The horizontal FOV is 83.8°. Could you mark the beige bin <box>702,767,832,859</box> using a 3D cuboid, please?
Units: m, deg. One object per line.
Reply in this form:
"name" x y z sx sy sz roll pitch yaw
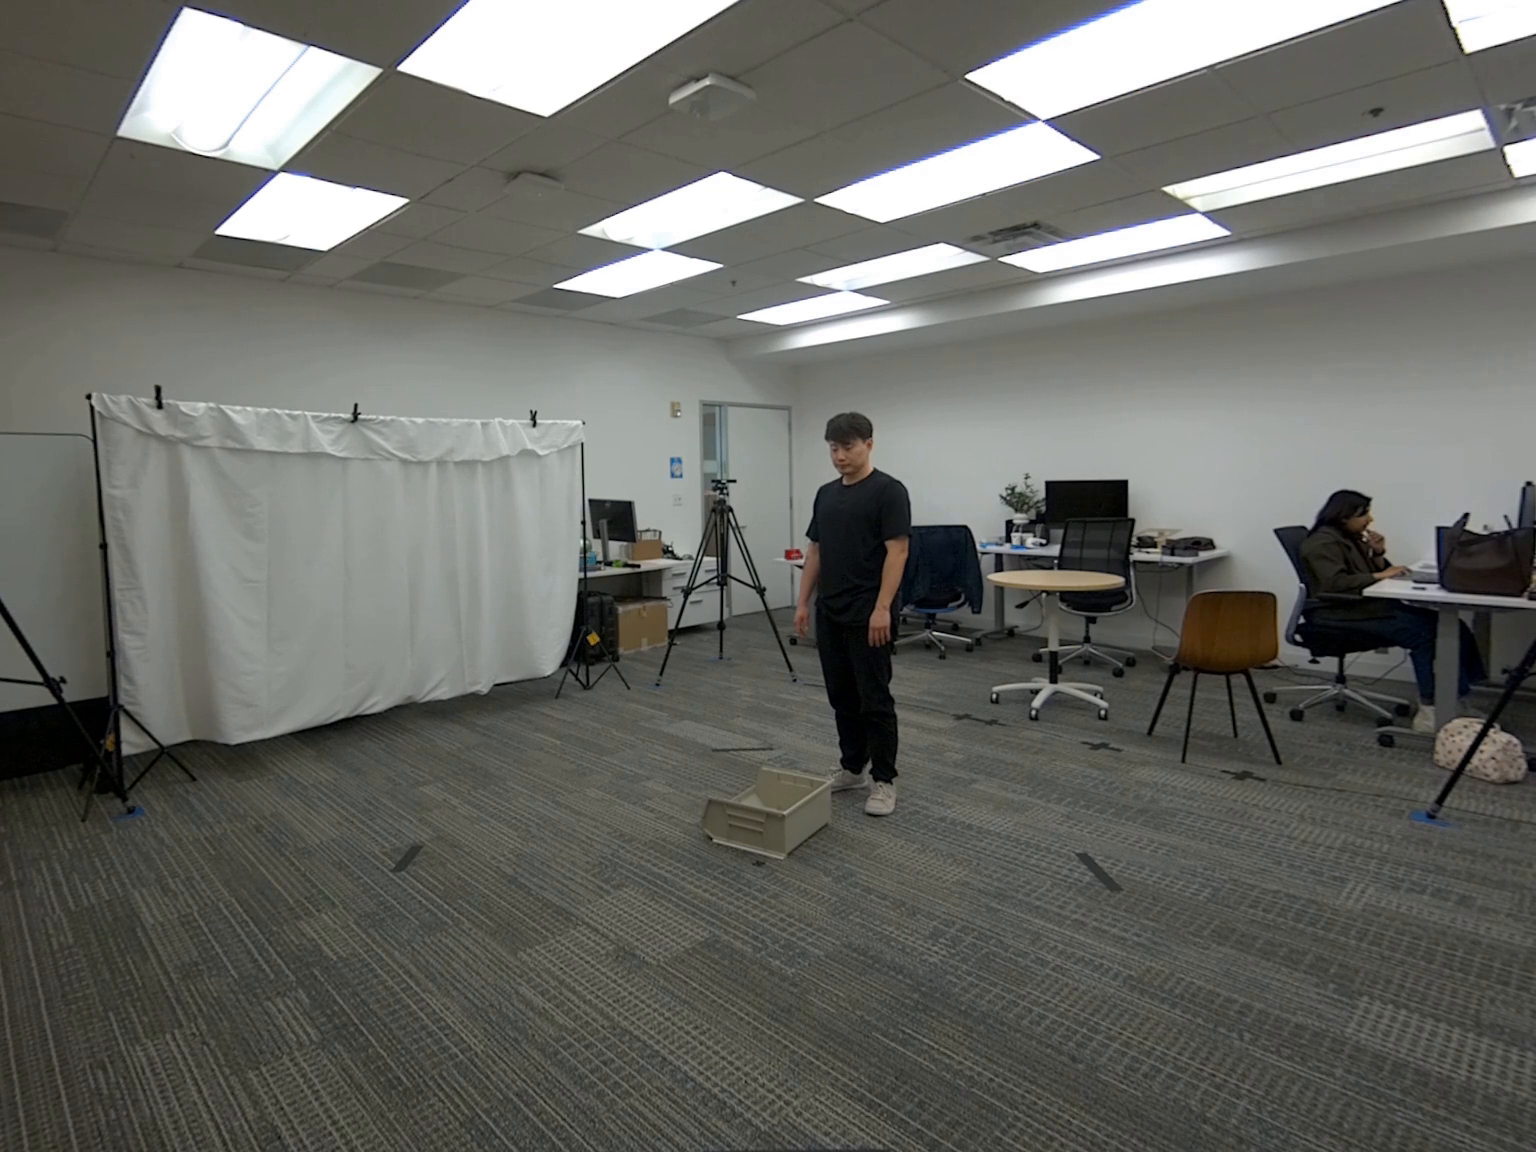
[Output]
"beige bin" 0.005 0.926 3.393 0.388 0.188 0.413 4 7 31
